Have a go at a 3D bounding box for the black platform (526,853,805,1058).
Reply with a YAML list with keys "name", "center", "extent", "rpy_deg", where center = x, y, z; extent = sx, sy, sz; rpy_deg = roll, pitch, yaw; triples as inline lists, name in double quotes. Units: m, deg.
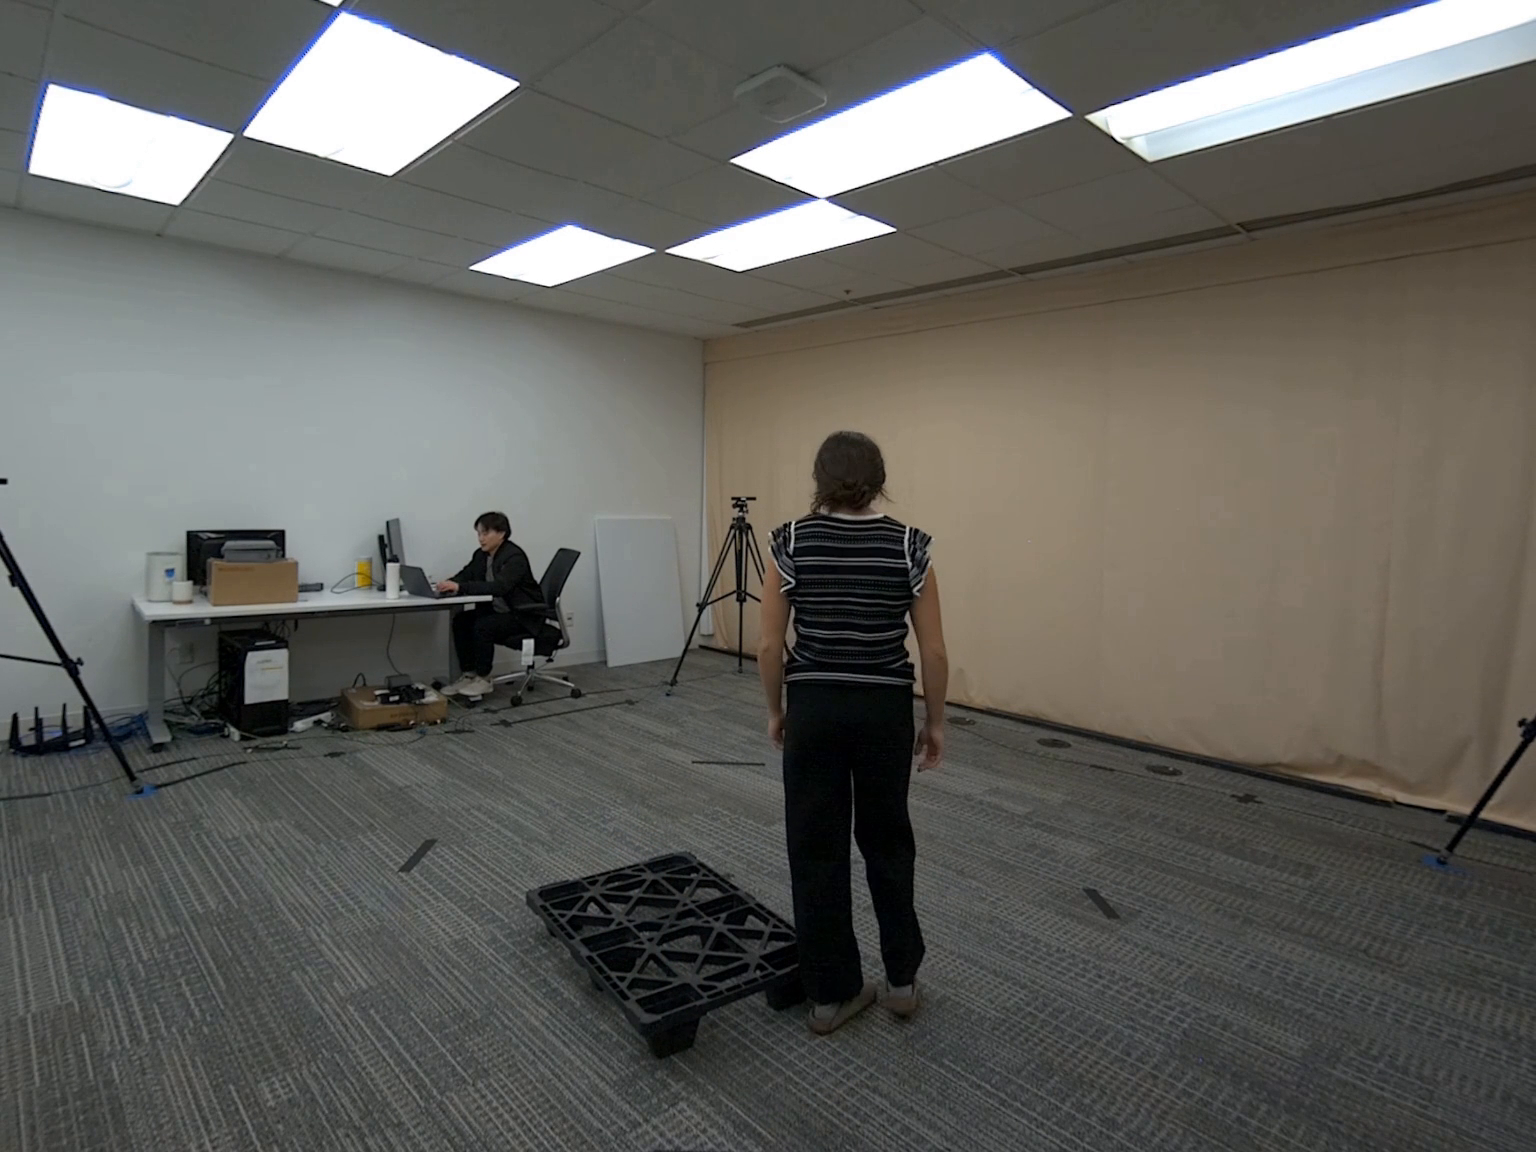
- name: "black platform"
  center: [-0.306, 1.092, 2.503]
  extent: [0.592, 0.143, 0.825]
  rpy_deg: [-4, 7, -35]
